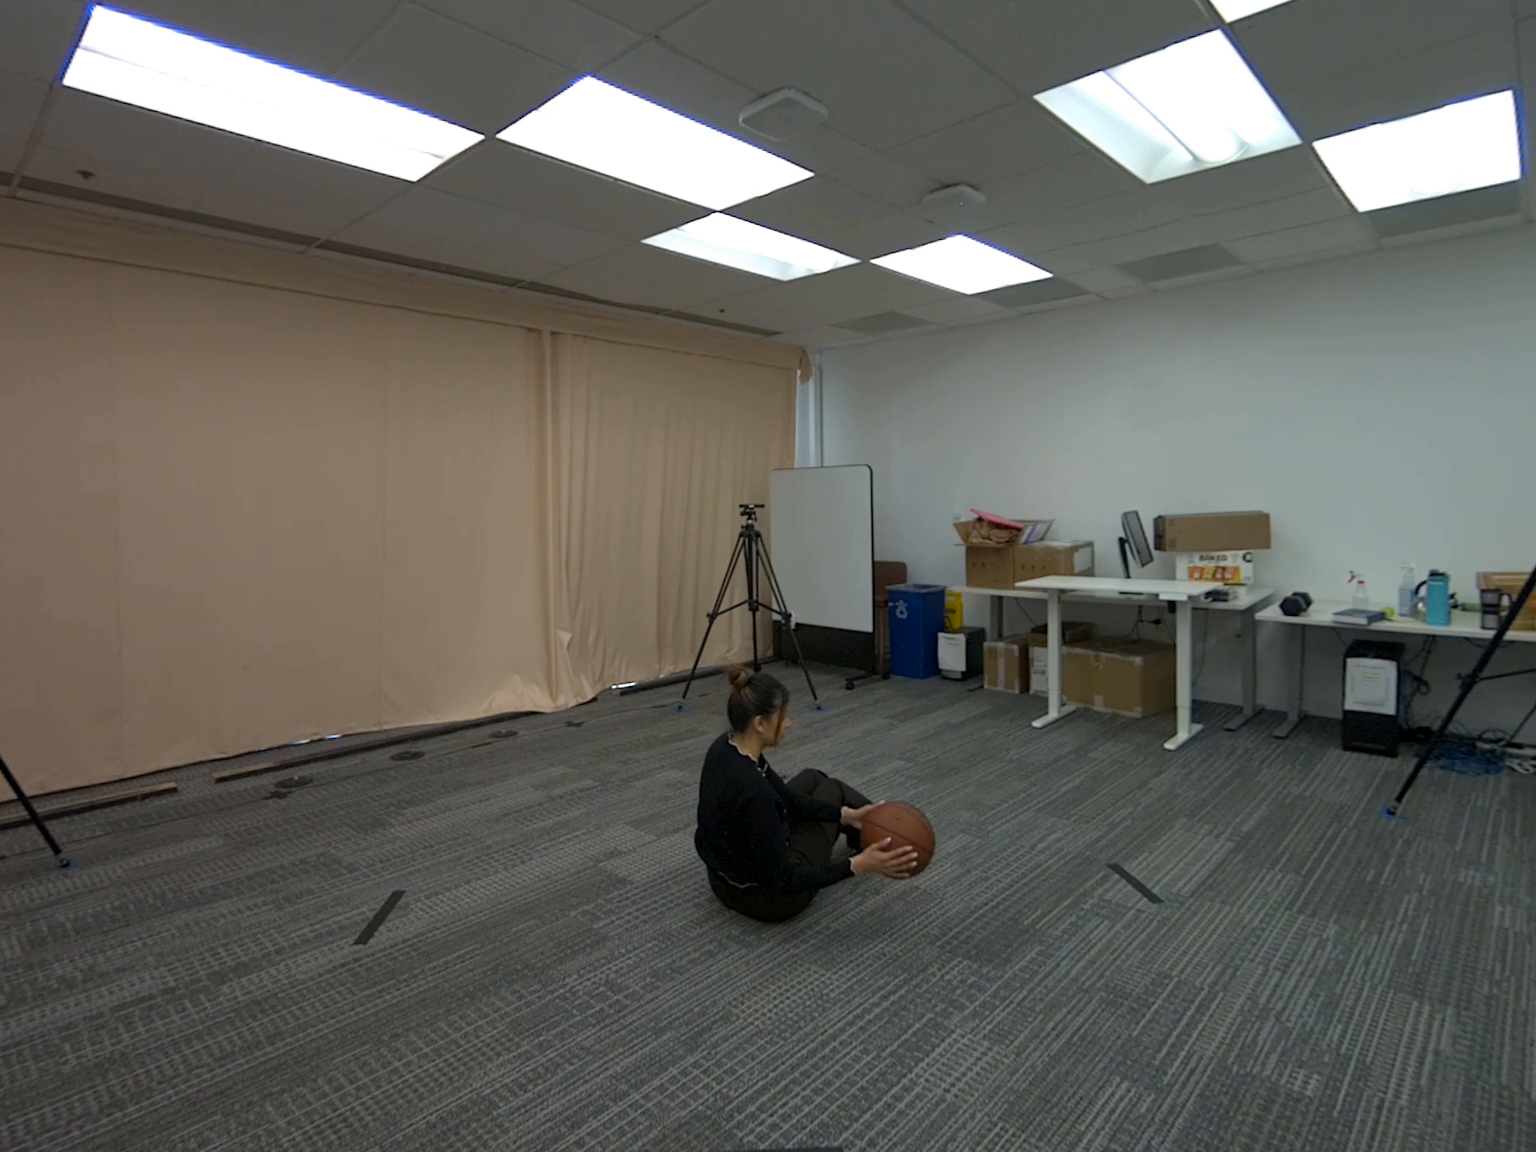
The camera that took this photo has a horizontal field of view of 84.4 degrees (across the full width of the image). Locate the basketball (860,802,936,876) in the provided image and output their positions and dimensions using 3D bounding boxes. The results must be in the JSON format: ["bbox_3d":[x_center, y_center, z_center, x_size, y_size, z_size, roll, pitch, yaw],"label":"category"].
[{"bbox_3d":[0.412,0.846,2.676,0.236,0.235,0.237,-1,4,-2],"label":"basketball"}]
